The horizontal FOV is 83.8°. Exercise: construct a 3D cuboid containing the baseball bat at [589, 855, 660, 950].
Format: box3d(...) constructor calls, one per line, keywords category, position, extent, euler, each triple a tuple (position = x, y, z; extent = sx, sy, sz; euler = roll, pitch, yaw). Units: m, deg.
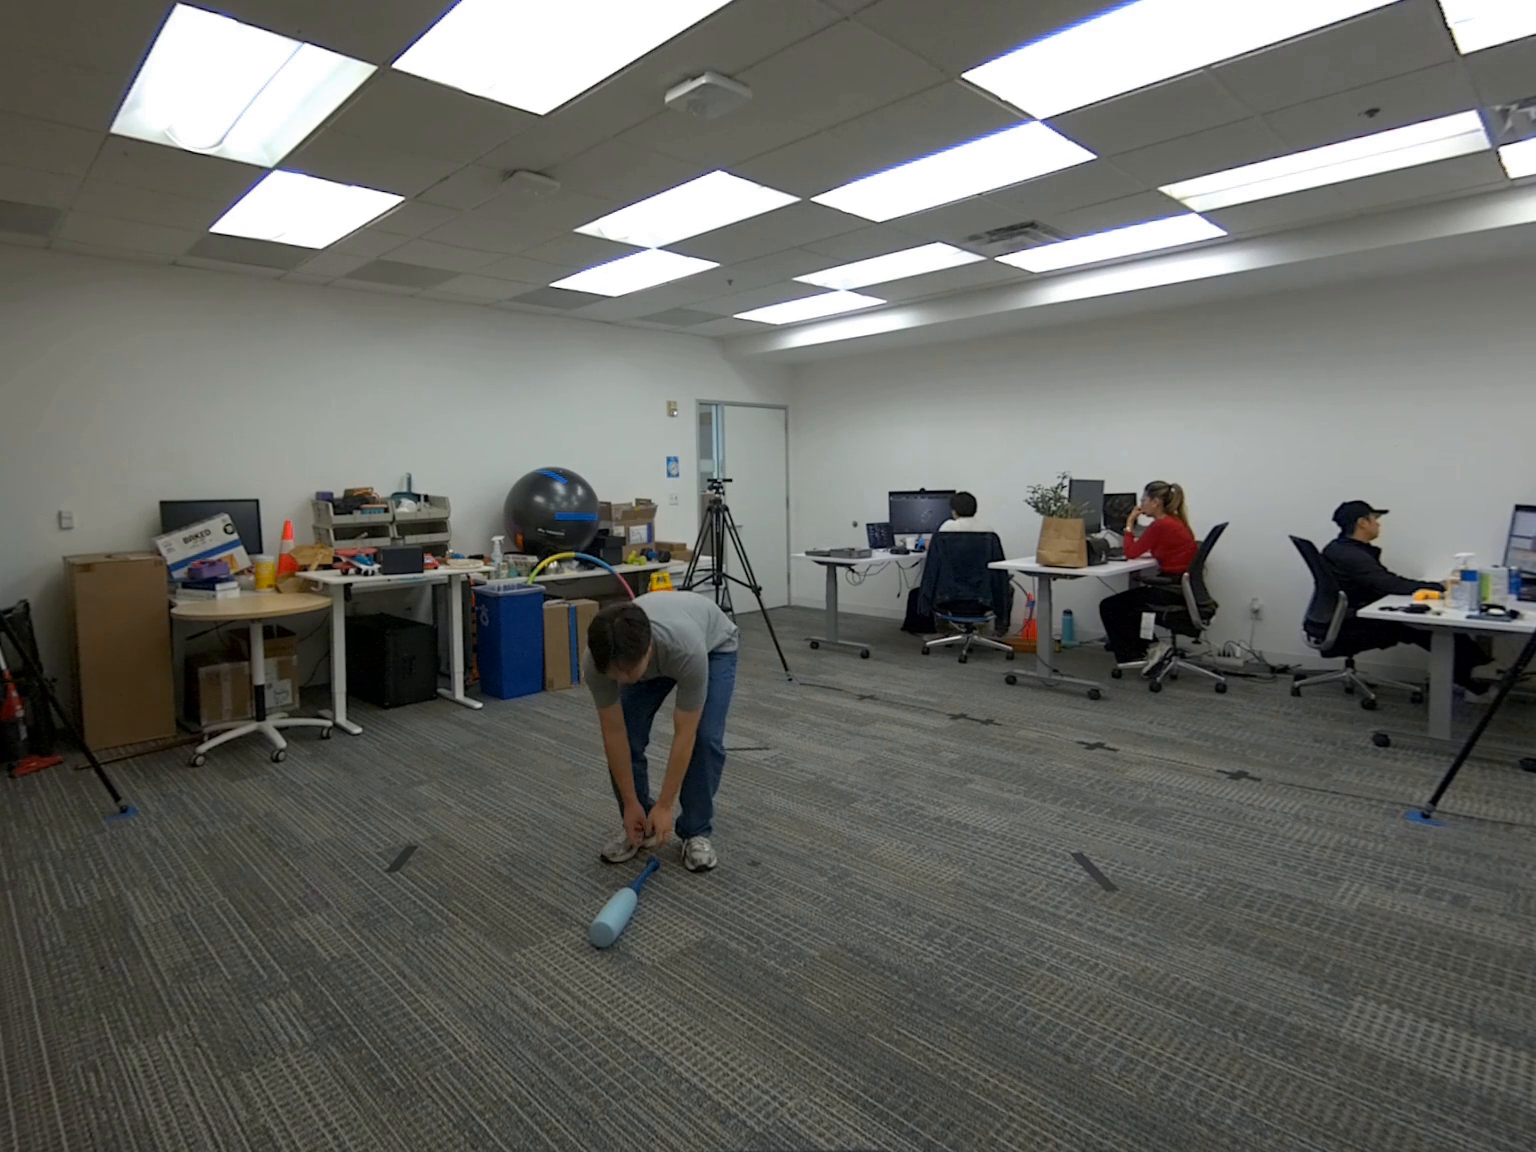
box3d(category="baseball bat", position=(-0.455, 1.052, 2.806), extent=(0.090, 0.089, 0.539), euler=(0, 4, 8))
